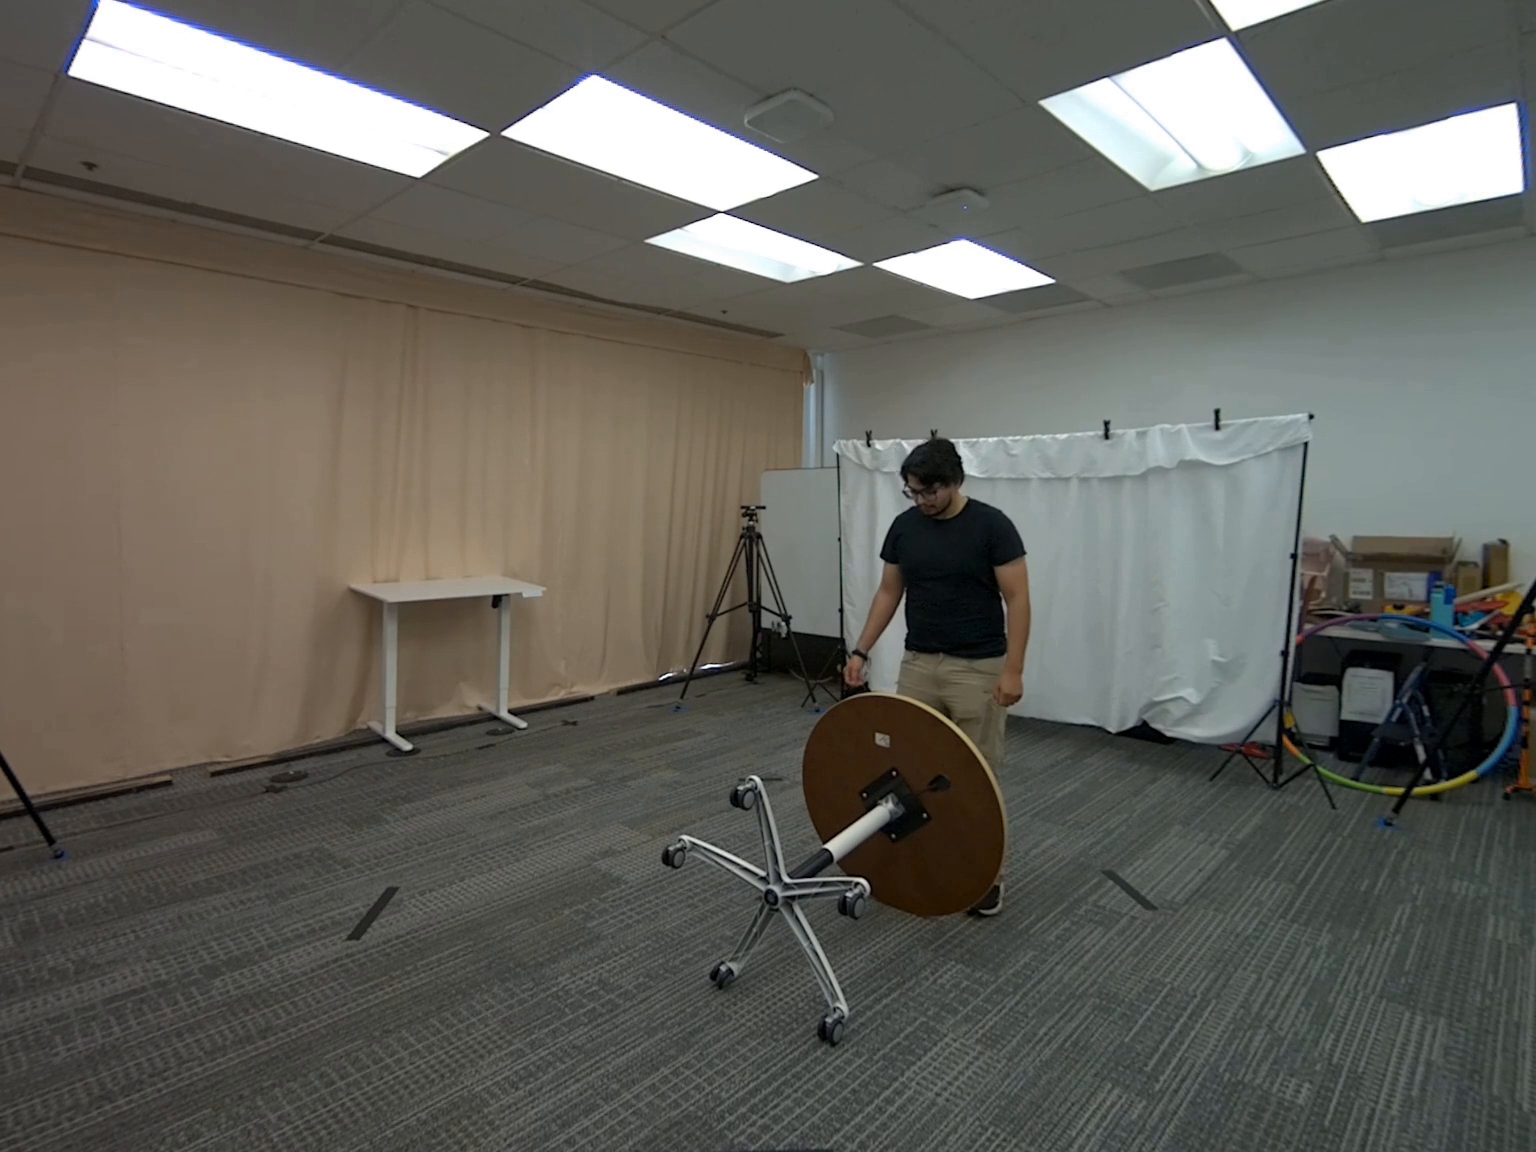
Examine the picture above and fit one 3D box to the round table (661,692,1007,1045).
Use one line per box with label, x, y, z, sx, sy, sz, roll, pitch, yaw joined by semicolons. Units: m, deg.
round table;0.204;0.844;2.572;0.811;0.780;0.766;3;12;40
